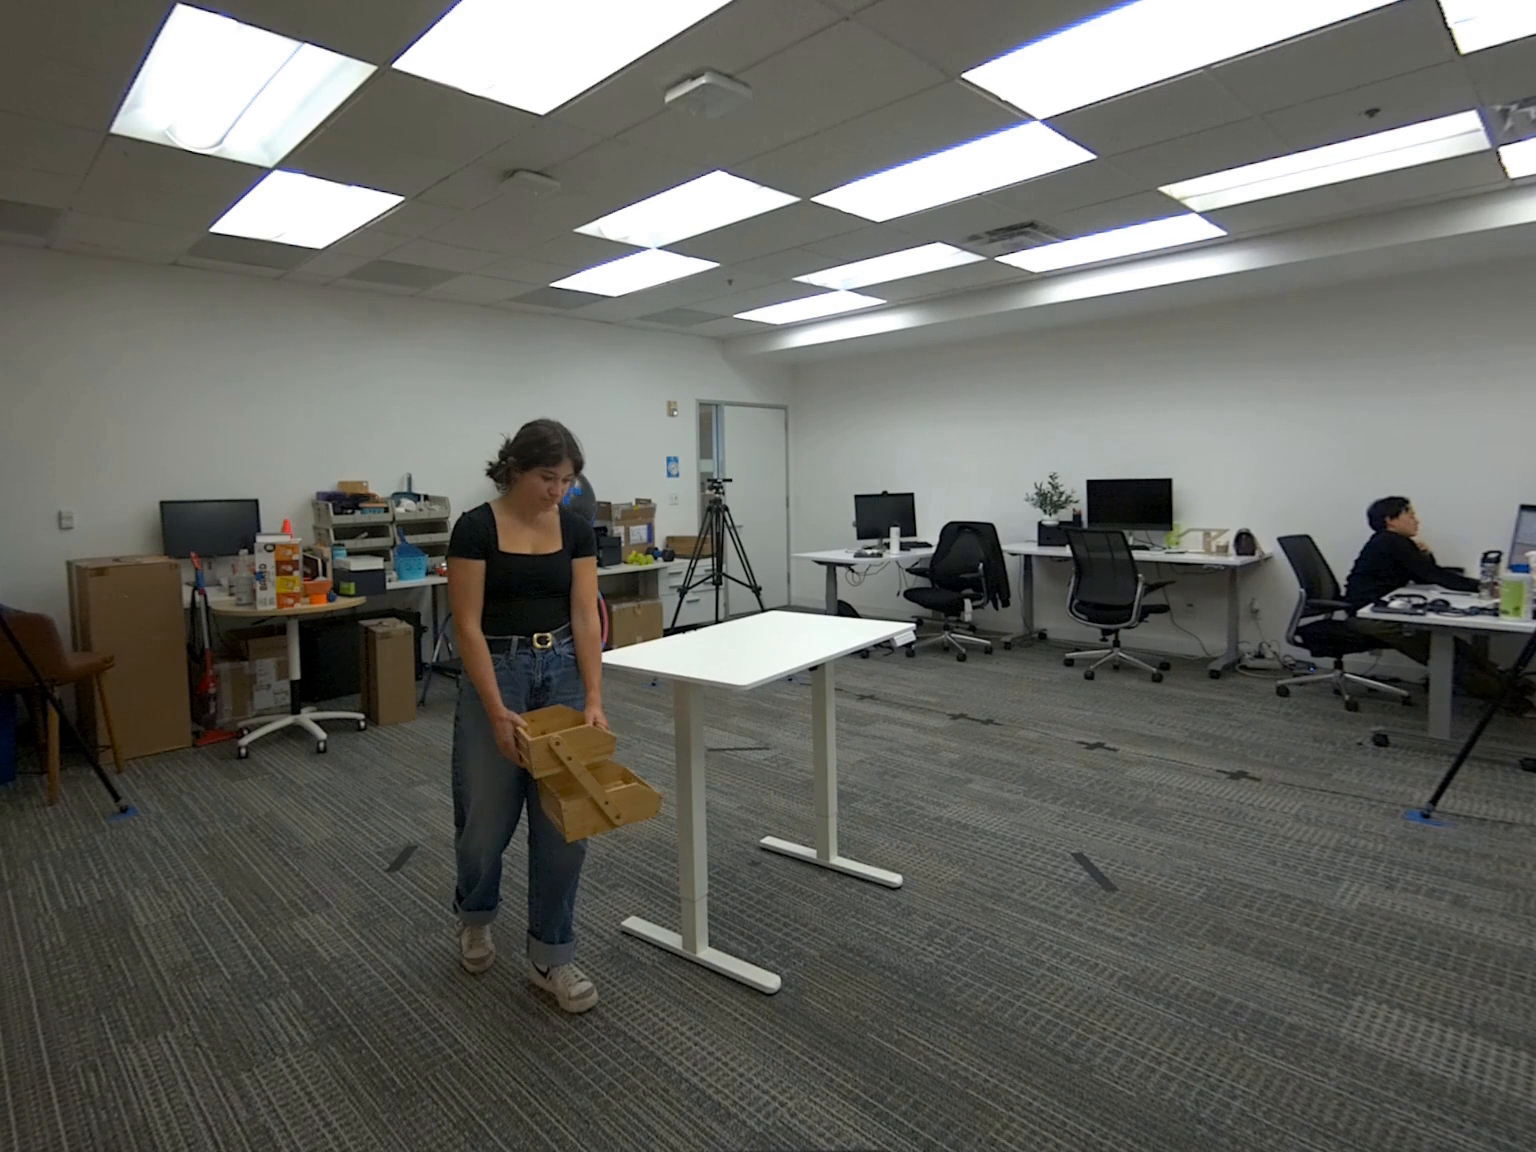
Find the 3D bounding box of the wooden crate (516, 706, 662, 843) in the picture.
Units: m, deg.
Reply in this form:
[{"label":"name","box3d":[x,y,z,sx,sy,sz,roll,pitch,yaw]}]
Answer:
[{"label":"wooden crate","box3d":[-0.476,0.476,2.163,0.297,0.272,0.331,-11,4,-25]}]
